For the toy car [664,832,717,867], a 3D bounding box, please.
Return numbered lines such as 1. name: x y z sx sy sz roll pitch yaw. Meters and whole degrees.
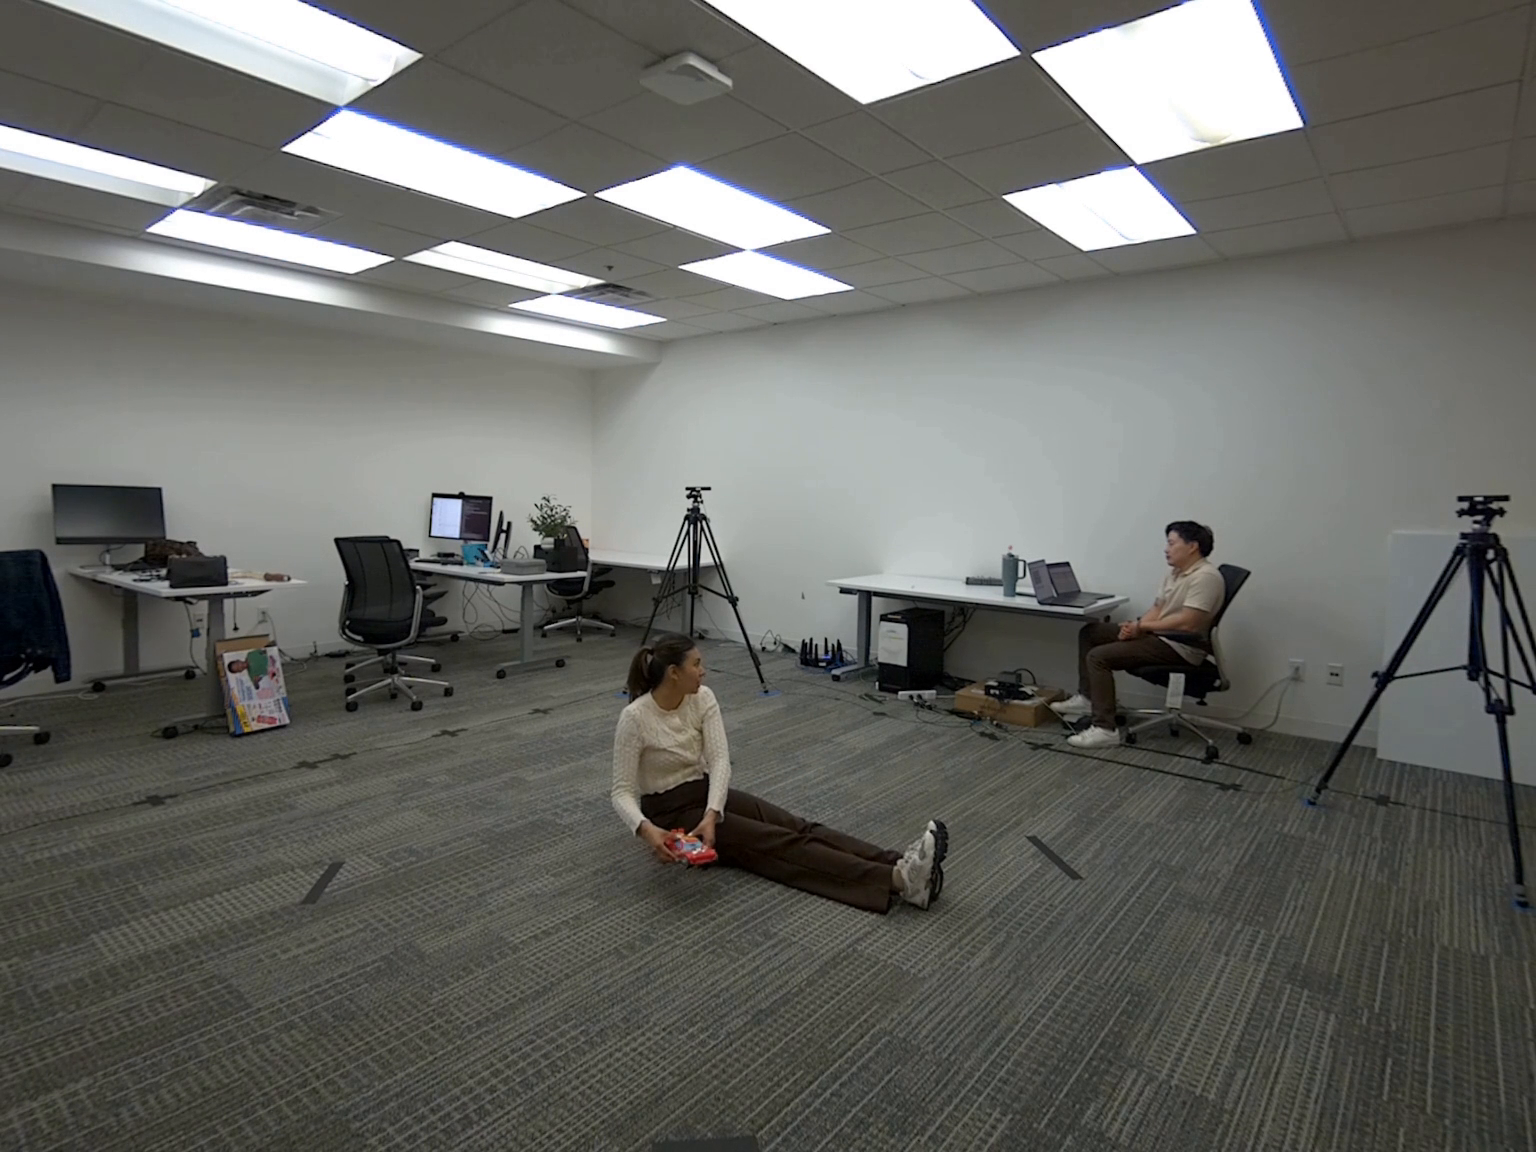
1. toy car: -0.292 0.934 2.903 0.126 0.083 0.263 -1 9 -36
